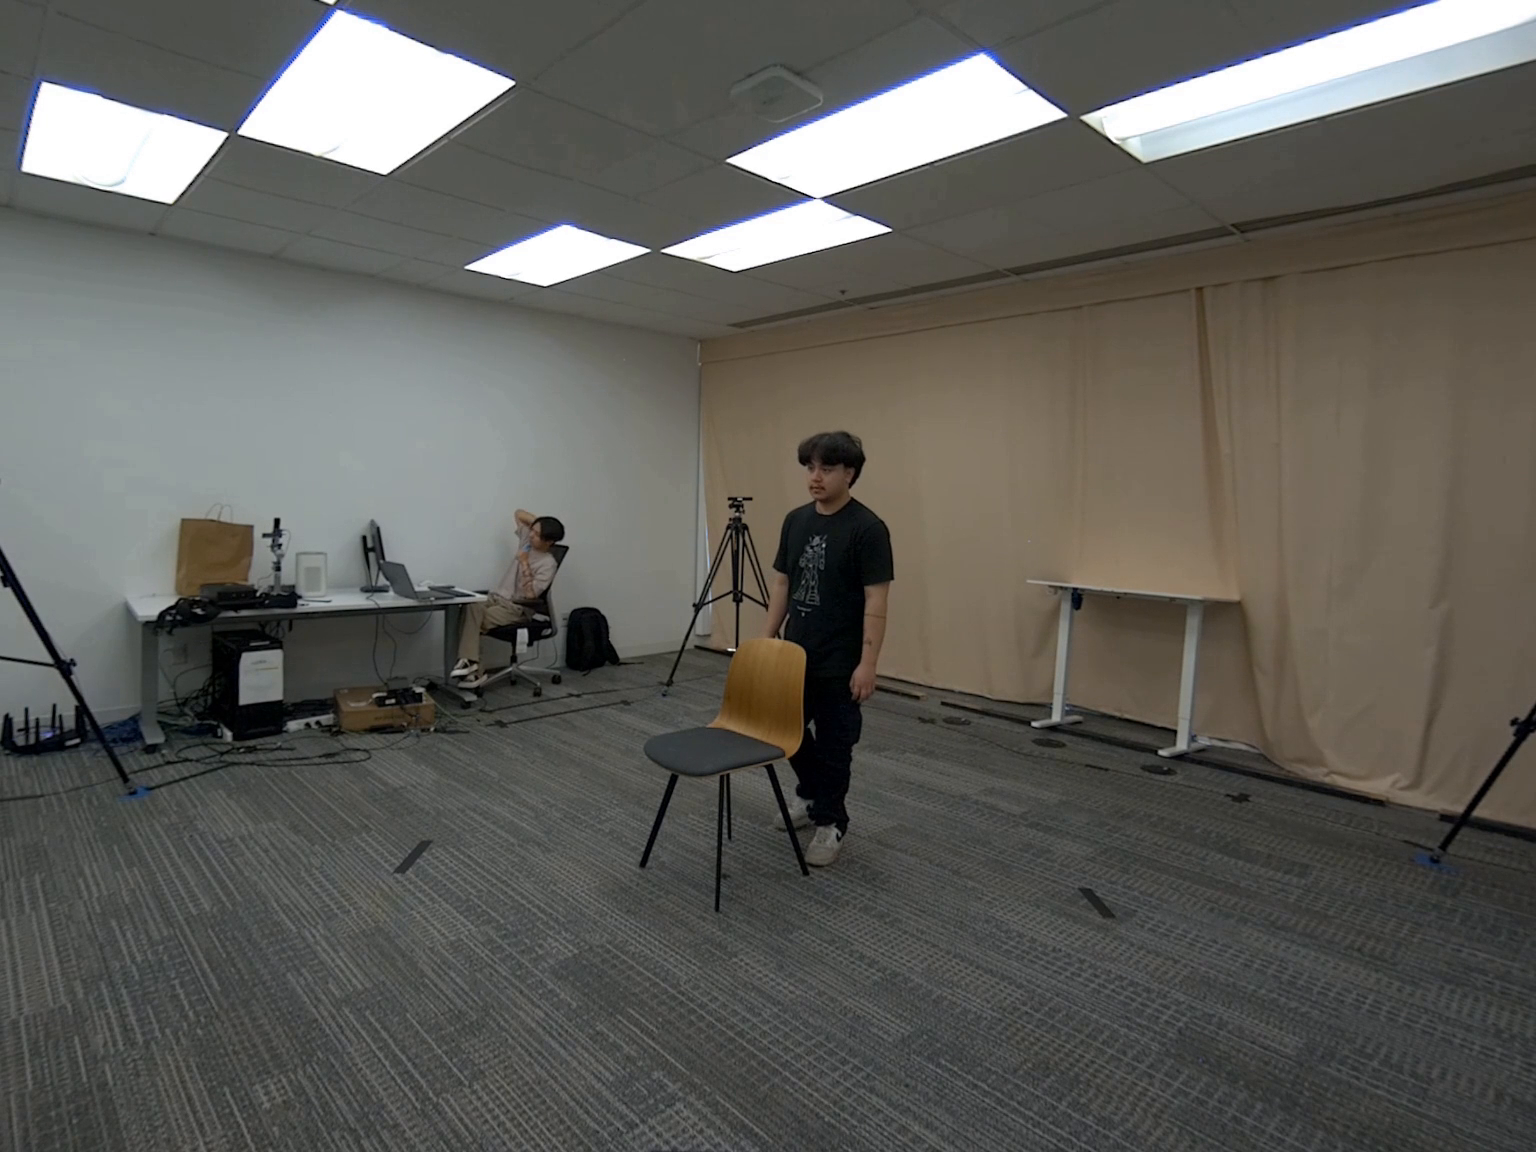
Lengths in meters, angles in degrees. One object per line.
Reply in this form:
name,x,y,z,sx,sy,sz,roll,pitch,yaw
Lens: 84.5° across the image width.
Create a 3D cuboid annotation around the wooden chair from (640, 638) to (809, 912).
wooden chair,-0.167,0.682,3.102,0.510,0.877,0.490,4,1,-43
